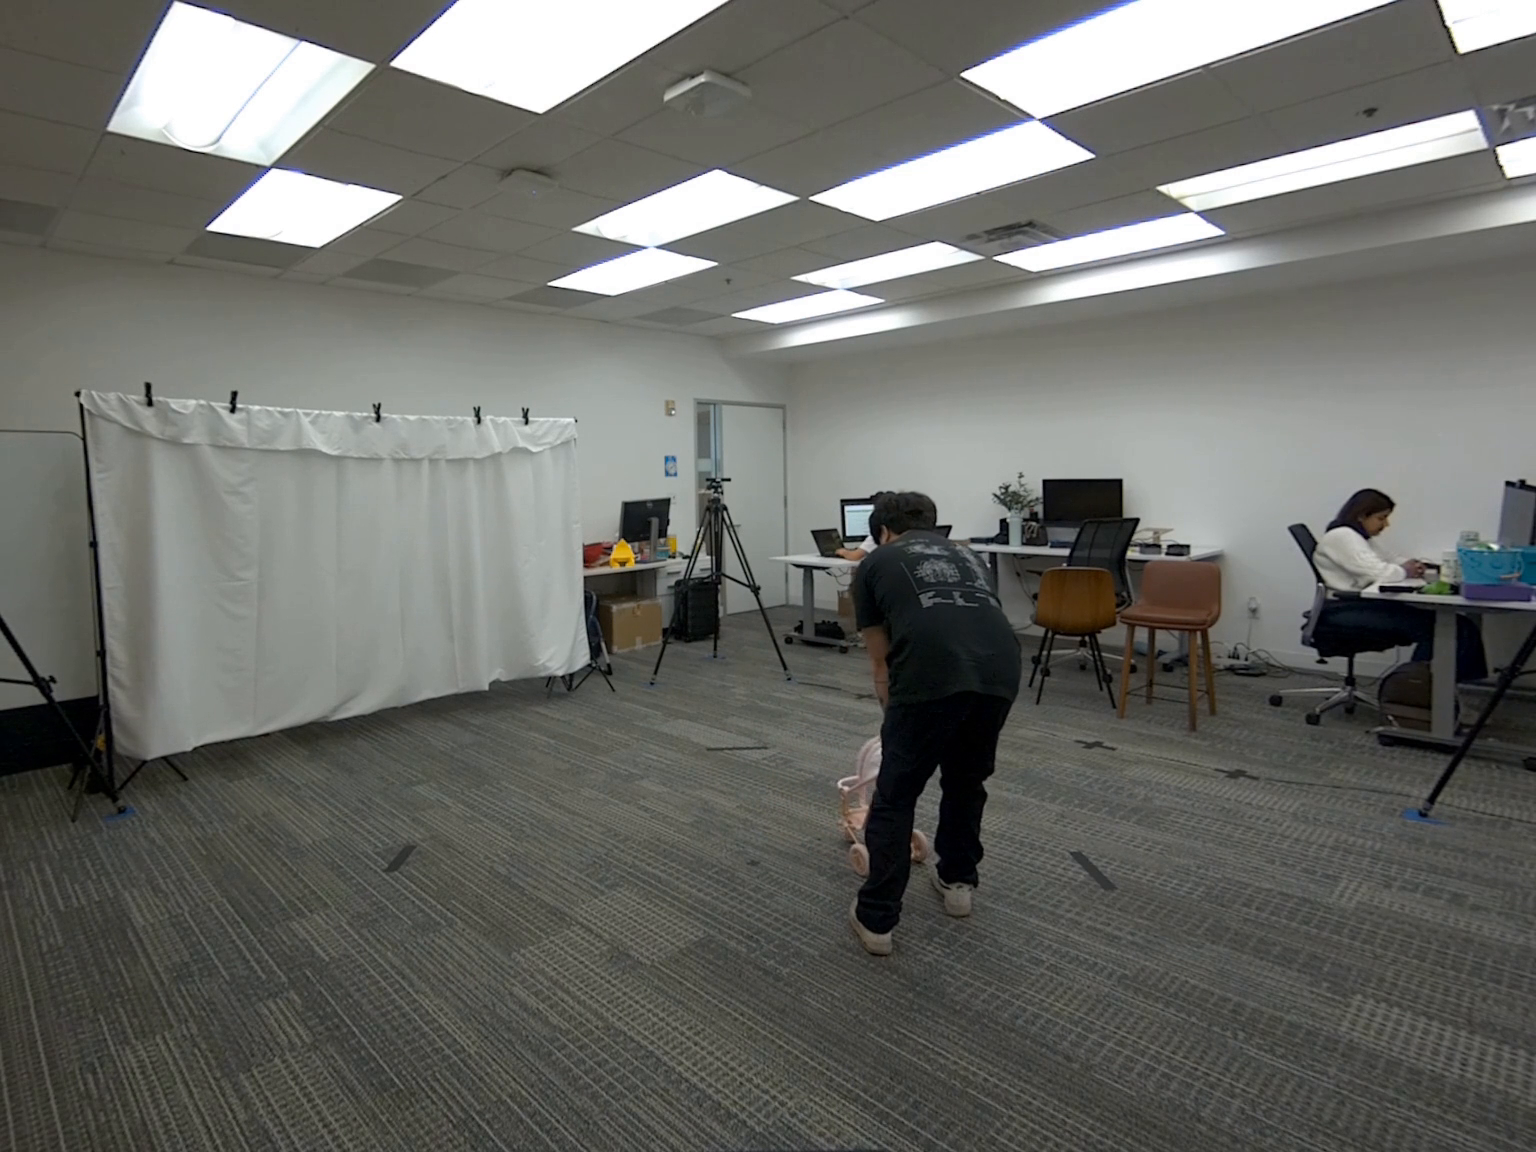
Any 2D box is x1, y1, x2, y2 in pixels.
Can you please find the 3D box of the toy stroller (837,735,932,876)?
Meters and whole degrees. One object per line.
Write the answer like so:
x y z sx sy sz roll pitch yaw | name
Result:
0.403 0.809 3.095 0.276 0.527 0.353 -2 20 -24 | toy stroller
